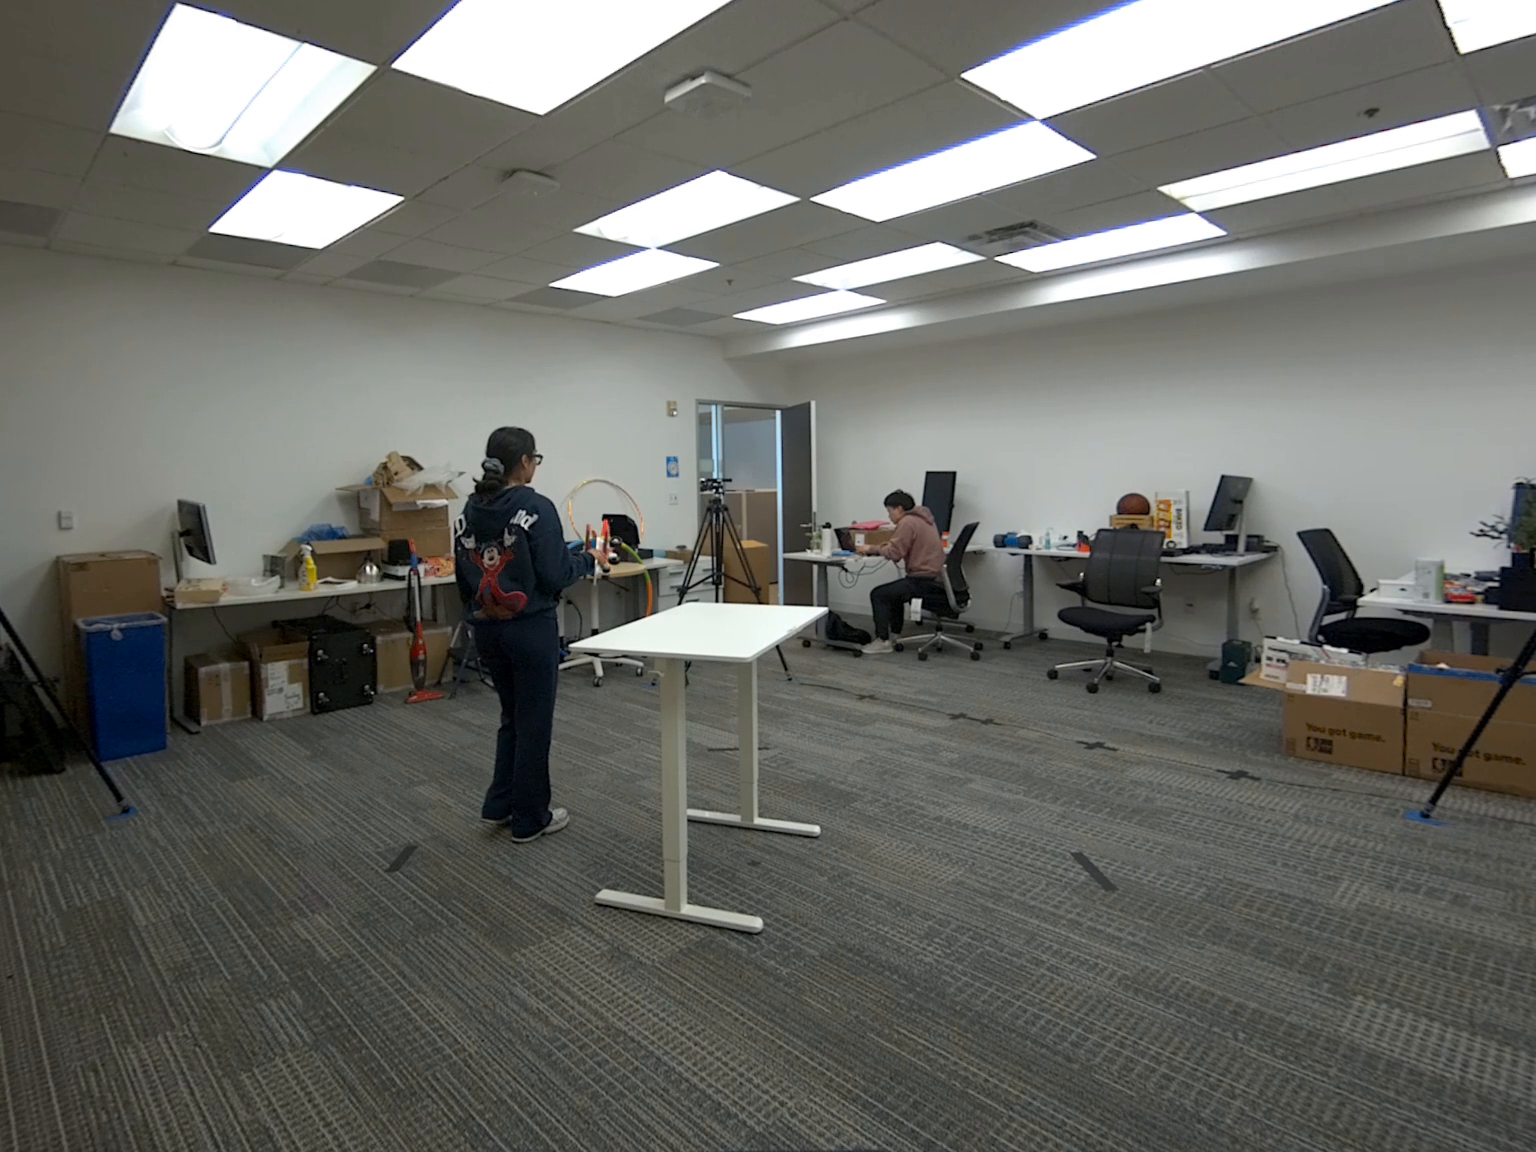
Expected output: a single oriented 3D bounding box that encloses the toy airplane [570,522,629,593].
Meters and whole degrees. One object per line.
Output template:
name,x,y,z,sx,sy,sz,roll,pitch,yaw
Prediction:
toy airplane,-0.711,-0.086,3.553,0.158,0.250,0.258,11,4,6
